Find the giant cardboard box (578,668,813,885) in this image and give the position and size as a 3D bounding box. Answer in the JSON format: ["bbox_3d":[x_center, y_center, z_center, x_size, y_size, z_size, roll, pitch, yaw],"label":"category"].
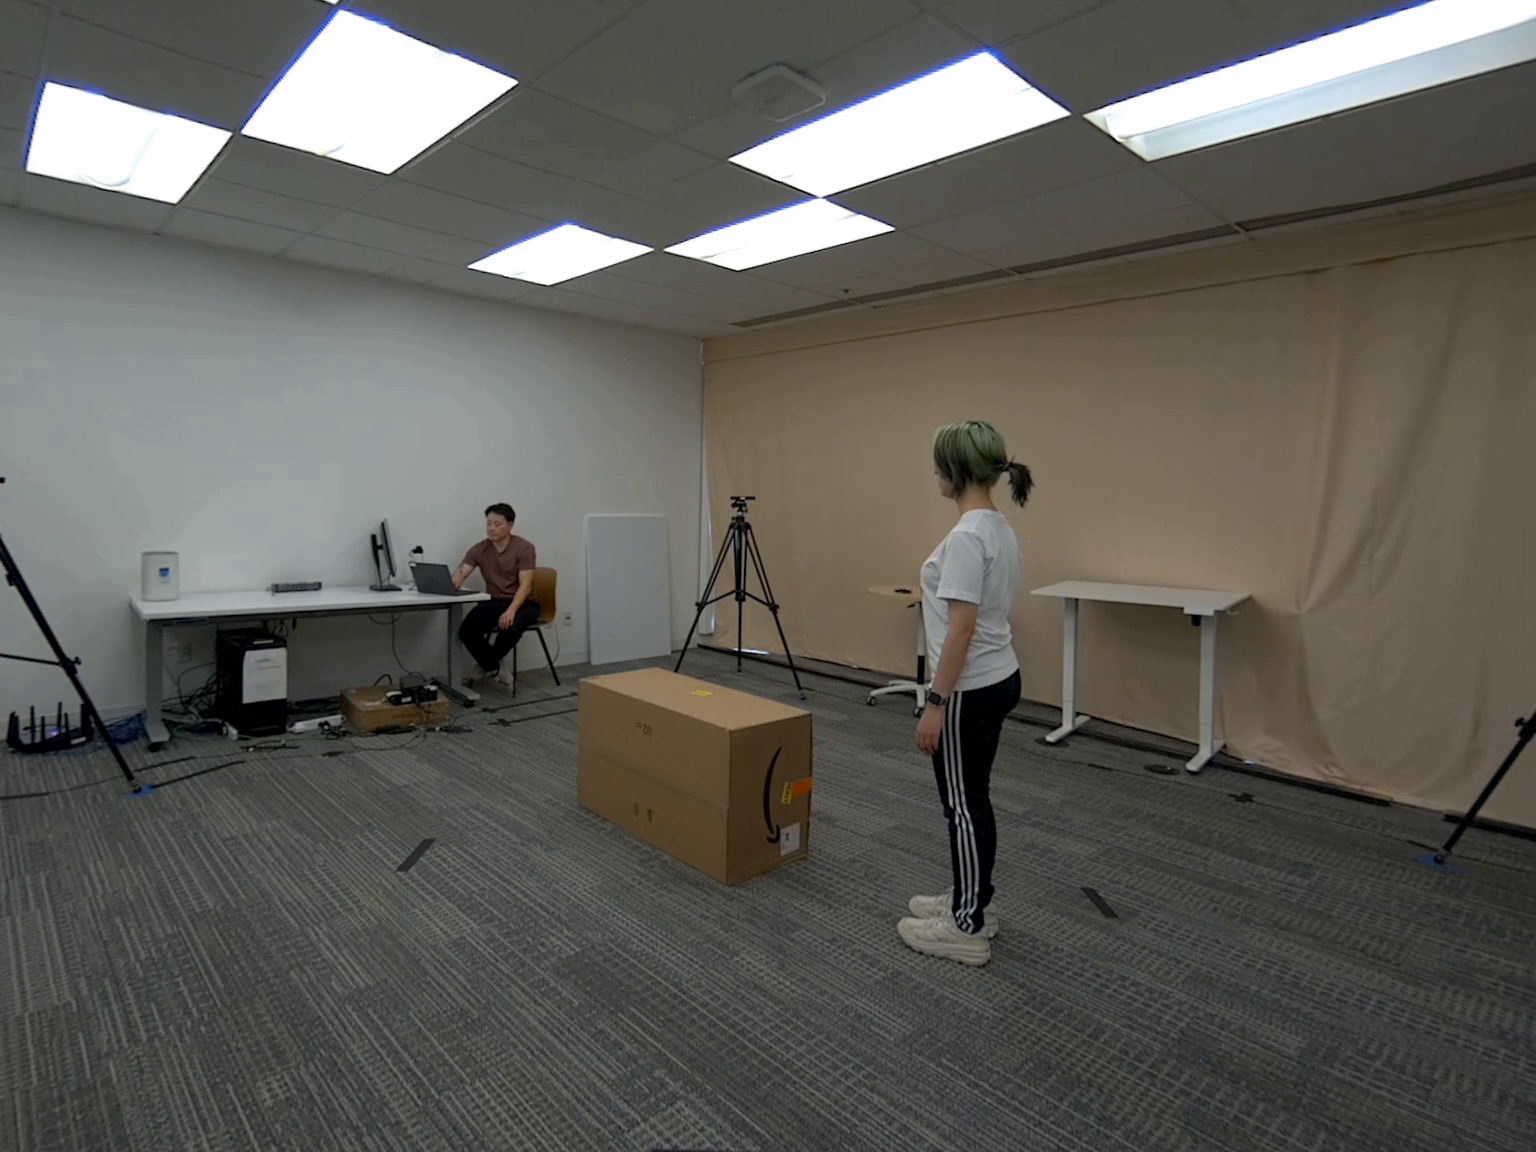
[{"bbox_3d":[-0.345,0.776,3.511,0.436,0.582,1.054,-1,5,-43],"label":"giant cardboard box"}]
